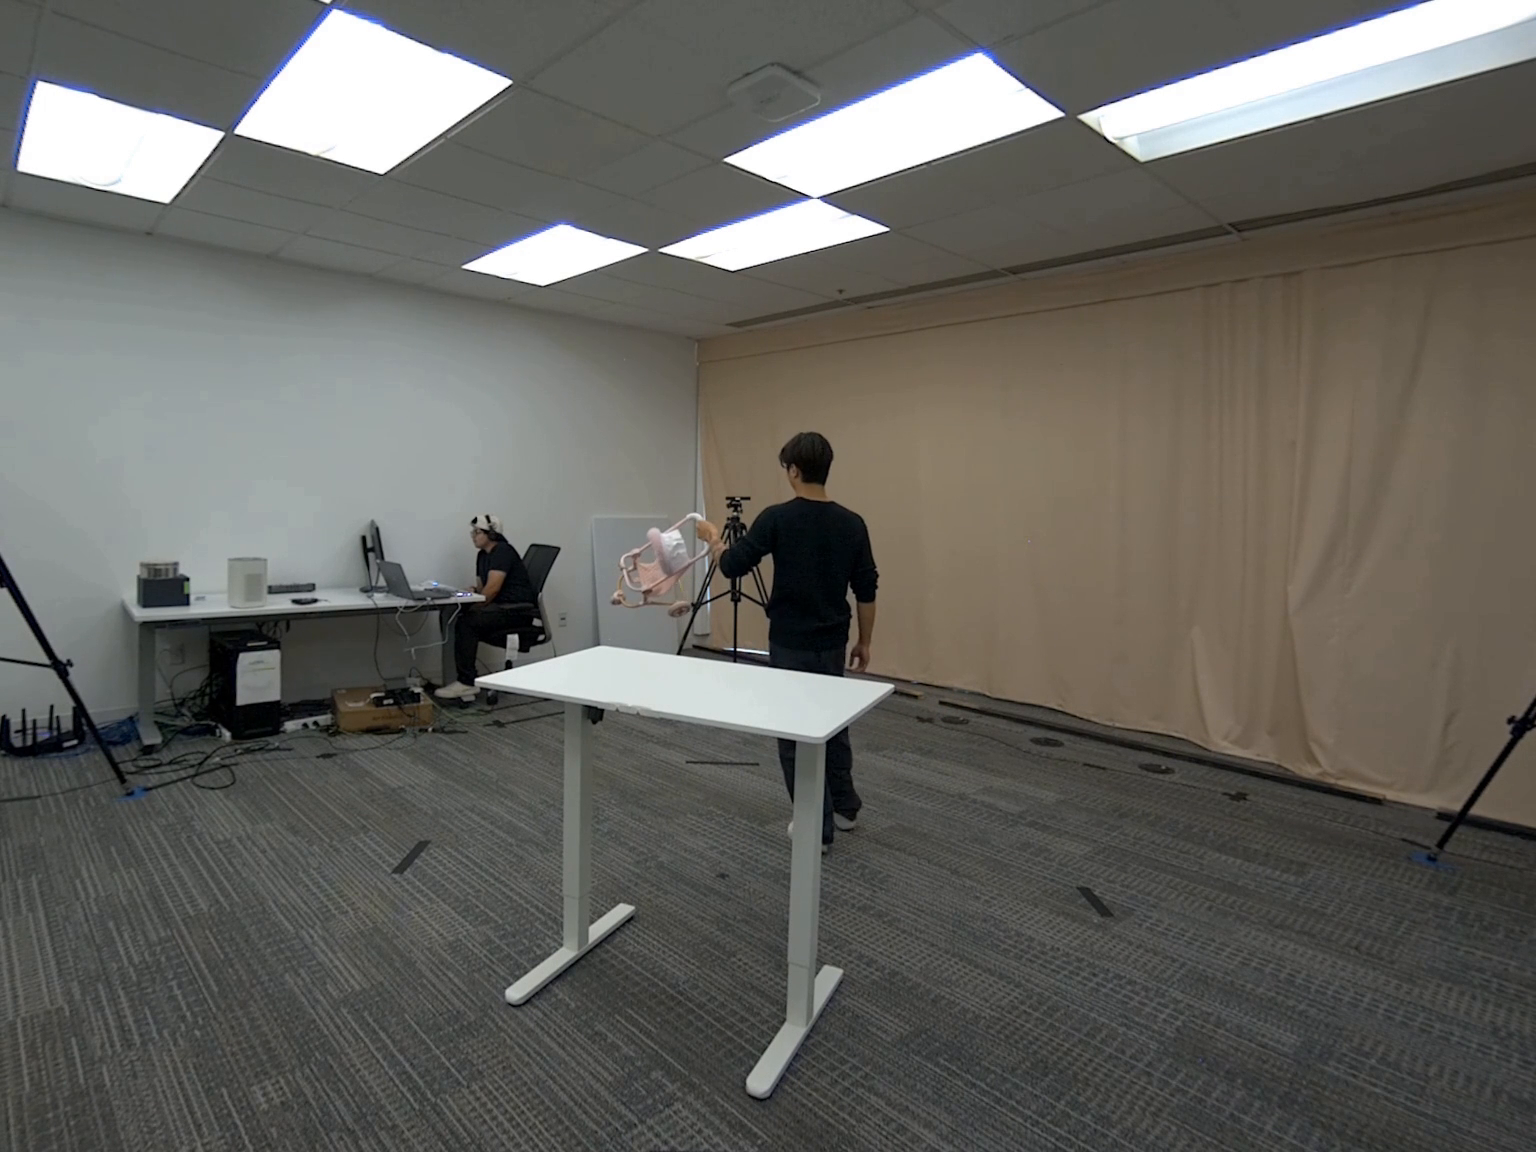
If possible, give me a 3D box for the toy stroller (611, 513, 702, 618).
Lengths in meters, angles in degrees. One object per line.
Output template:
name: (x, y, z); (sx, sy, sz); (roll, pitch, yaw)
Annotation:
toy stroller: (-0.487, -0.035, 3.686); (0.336, 0.288, 0.530); (-2, -33, -23)
